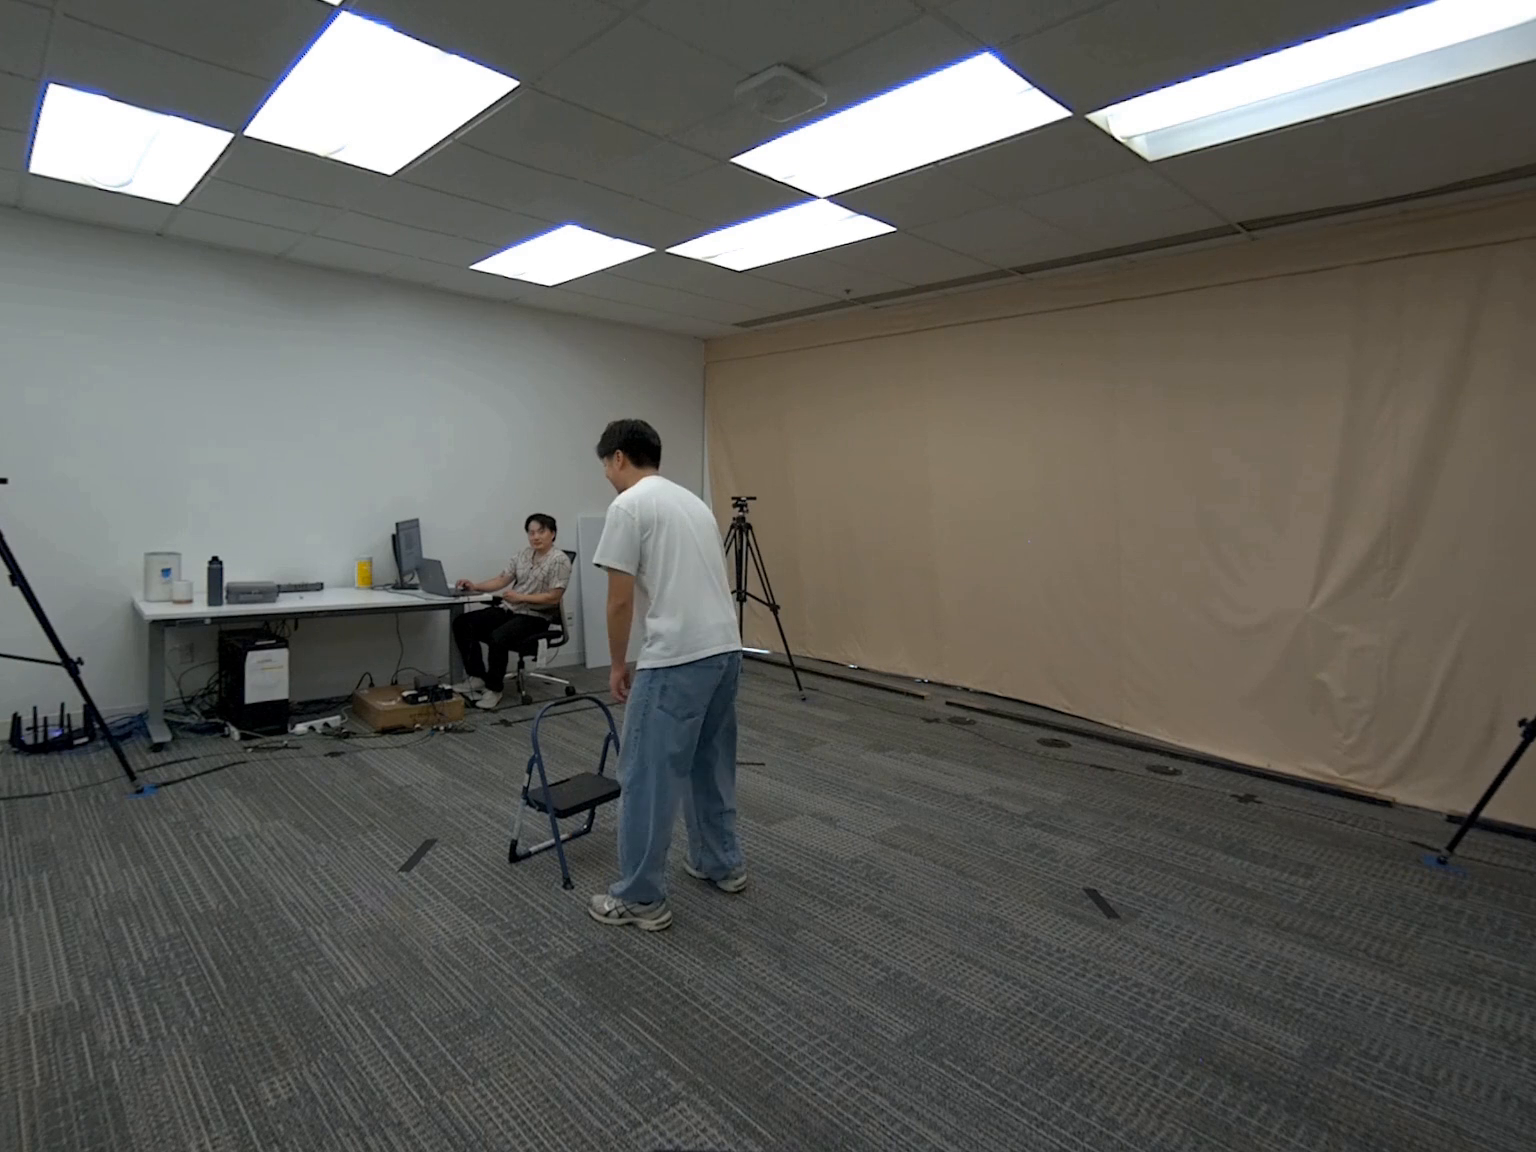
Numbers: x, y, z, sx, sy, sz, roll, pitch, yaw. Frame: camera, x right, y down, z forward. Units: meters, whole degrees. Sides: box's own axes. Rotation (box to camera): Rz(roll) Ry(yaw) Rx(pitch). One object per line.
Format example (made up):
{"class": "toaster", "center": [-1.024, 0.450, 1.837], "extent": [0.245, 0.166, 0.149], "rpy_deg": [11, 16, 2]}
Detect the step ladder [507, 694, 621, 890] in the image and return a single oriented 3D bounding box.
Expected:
{"class": "step ladder", "center": [-0.724, 0.779, 3.221], "extent": [0.357, 0.605, 0.421], "rpy_deg": [4, 4, 35]}
